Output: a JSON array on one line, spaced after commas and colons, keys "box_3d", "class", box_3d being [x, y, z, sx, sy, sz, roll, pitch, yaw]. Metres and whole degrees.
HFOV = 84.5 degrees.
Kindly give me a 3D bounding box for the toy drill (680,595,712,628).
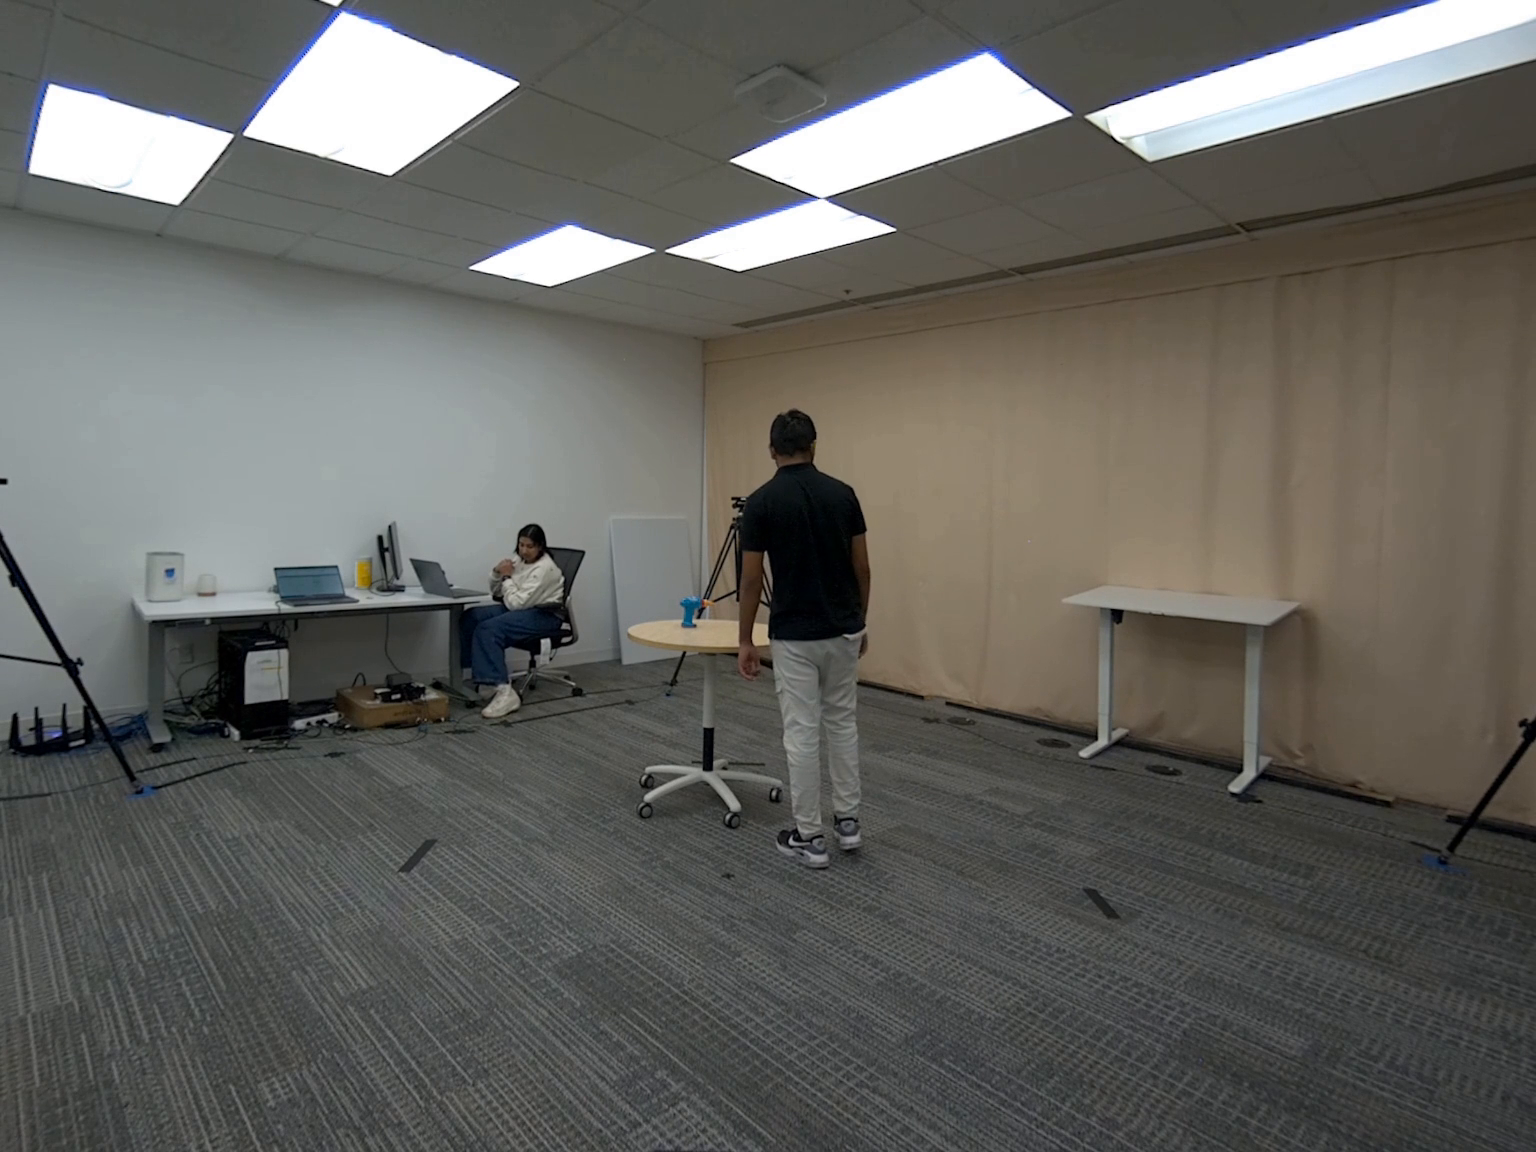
[{"box_3d": [-0.342, 0.169, 3.987, 0.167, 0.146, 0.062, 3, -1, -19], "class": "toy drill"}]
